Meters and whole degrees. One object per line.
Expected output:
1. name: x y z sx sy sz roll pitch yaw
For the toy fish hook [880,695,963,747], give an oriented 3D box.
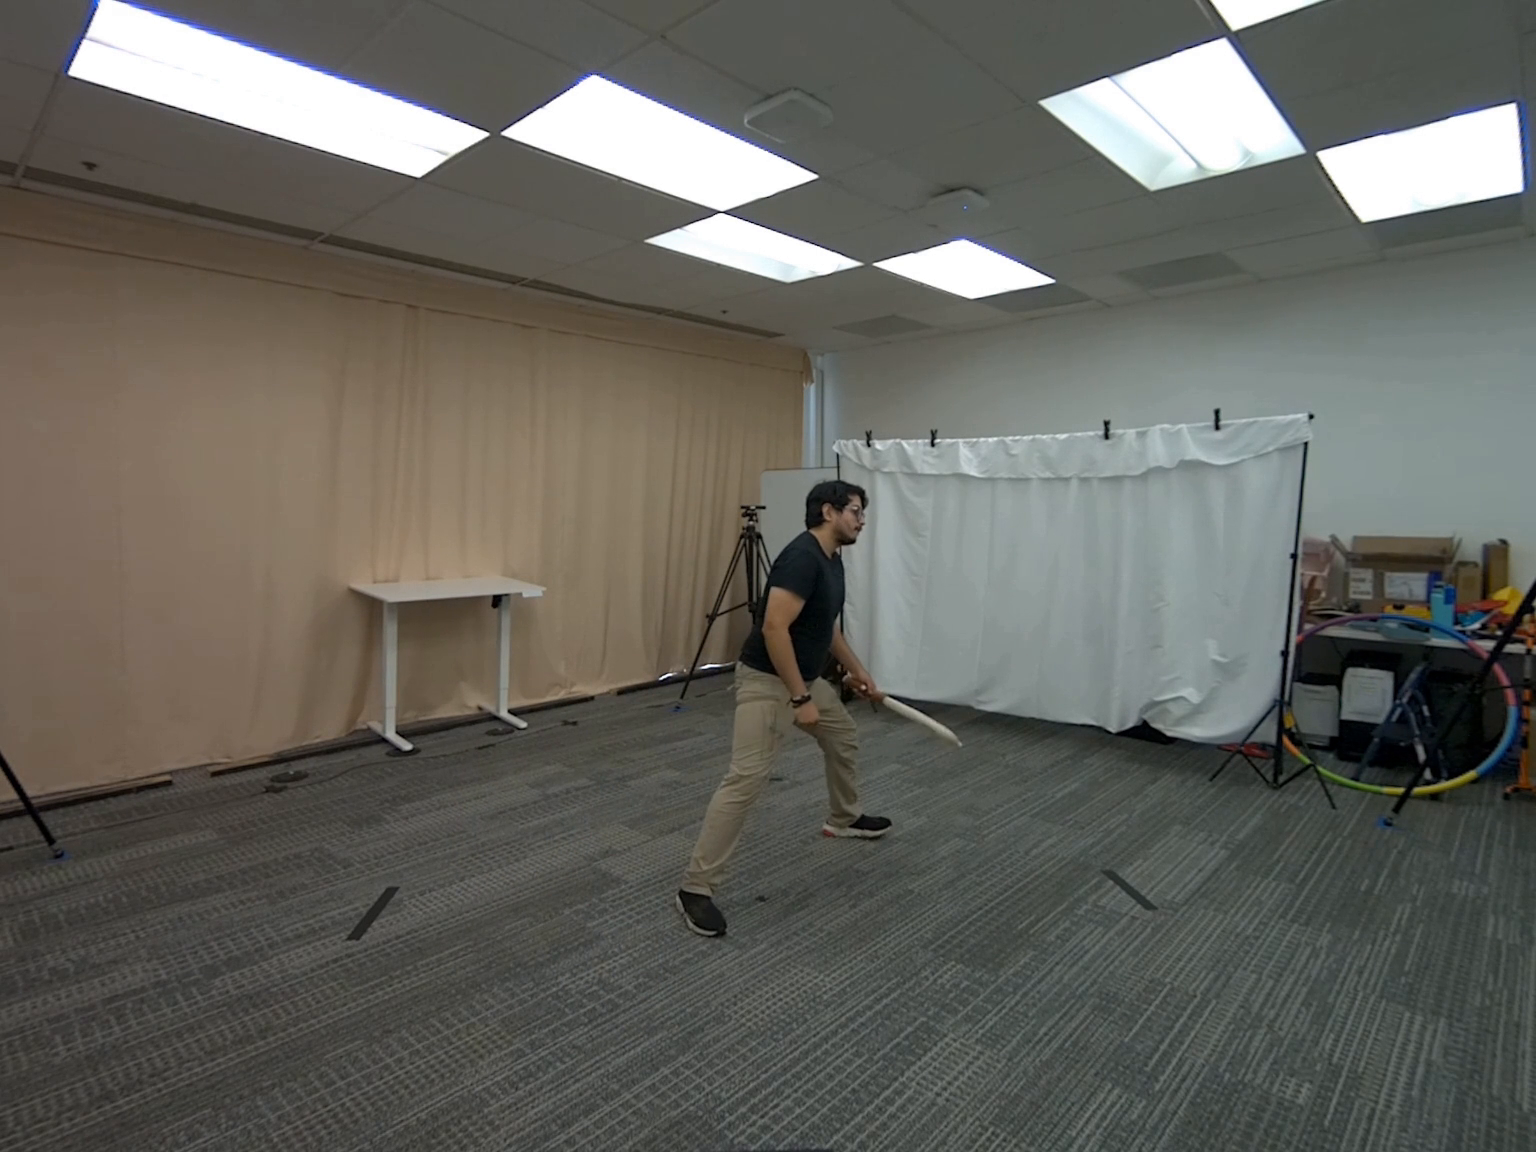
1. toy fish hook: 0.513 0.524 3.222 0.525 0.048 0.217 27 -15 40
